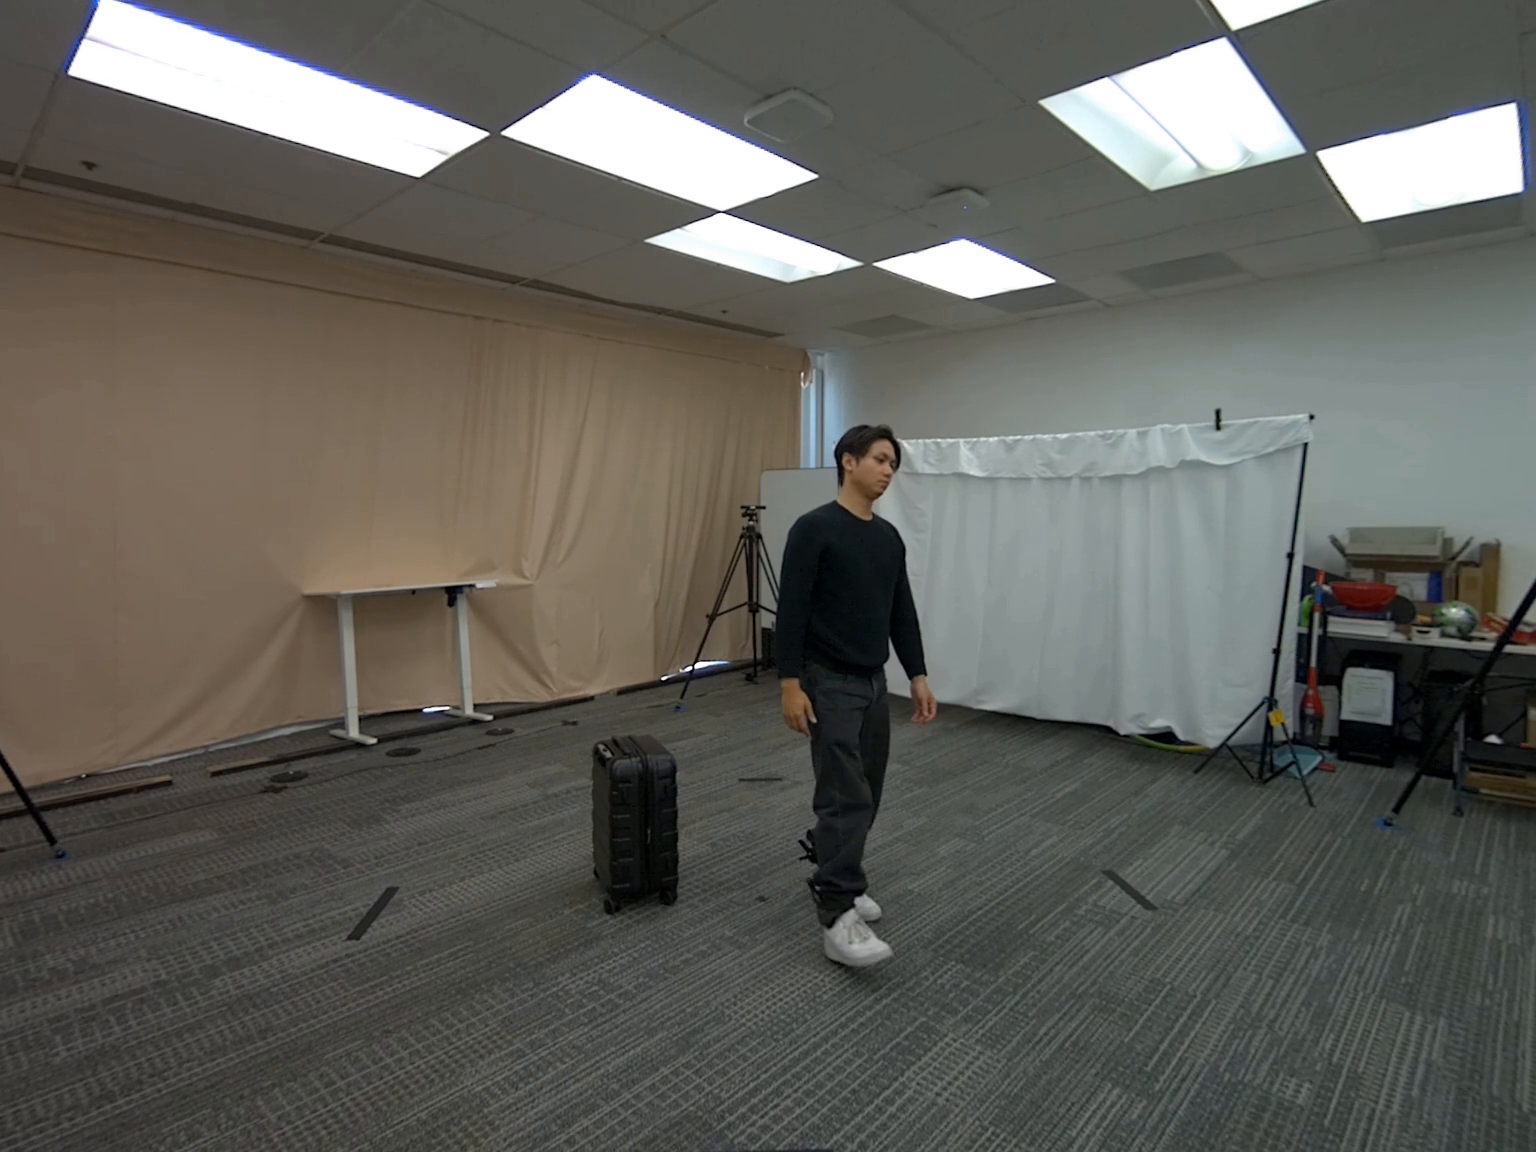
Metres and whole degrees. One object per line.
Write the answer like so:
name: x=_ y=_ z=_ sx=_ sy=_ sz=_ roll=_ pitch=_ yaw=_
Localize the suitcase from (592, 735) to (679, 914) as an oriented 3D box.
suitcase: x=-0.485 y=0.866 z=3.039 sx=0.243 sy=0.548 sz=0.384 roll=-1 pitch=4 yaw=-21
